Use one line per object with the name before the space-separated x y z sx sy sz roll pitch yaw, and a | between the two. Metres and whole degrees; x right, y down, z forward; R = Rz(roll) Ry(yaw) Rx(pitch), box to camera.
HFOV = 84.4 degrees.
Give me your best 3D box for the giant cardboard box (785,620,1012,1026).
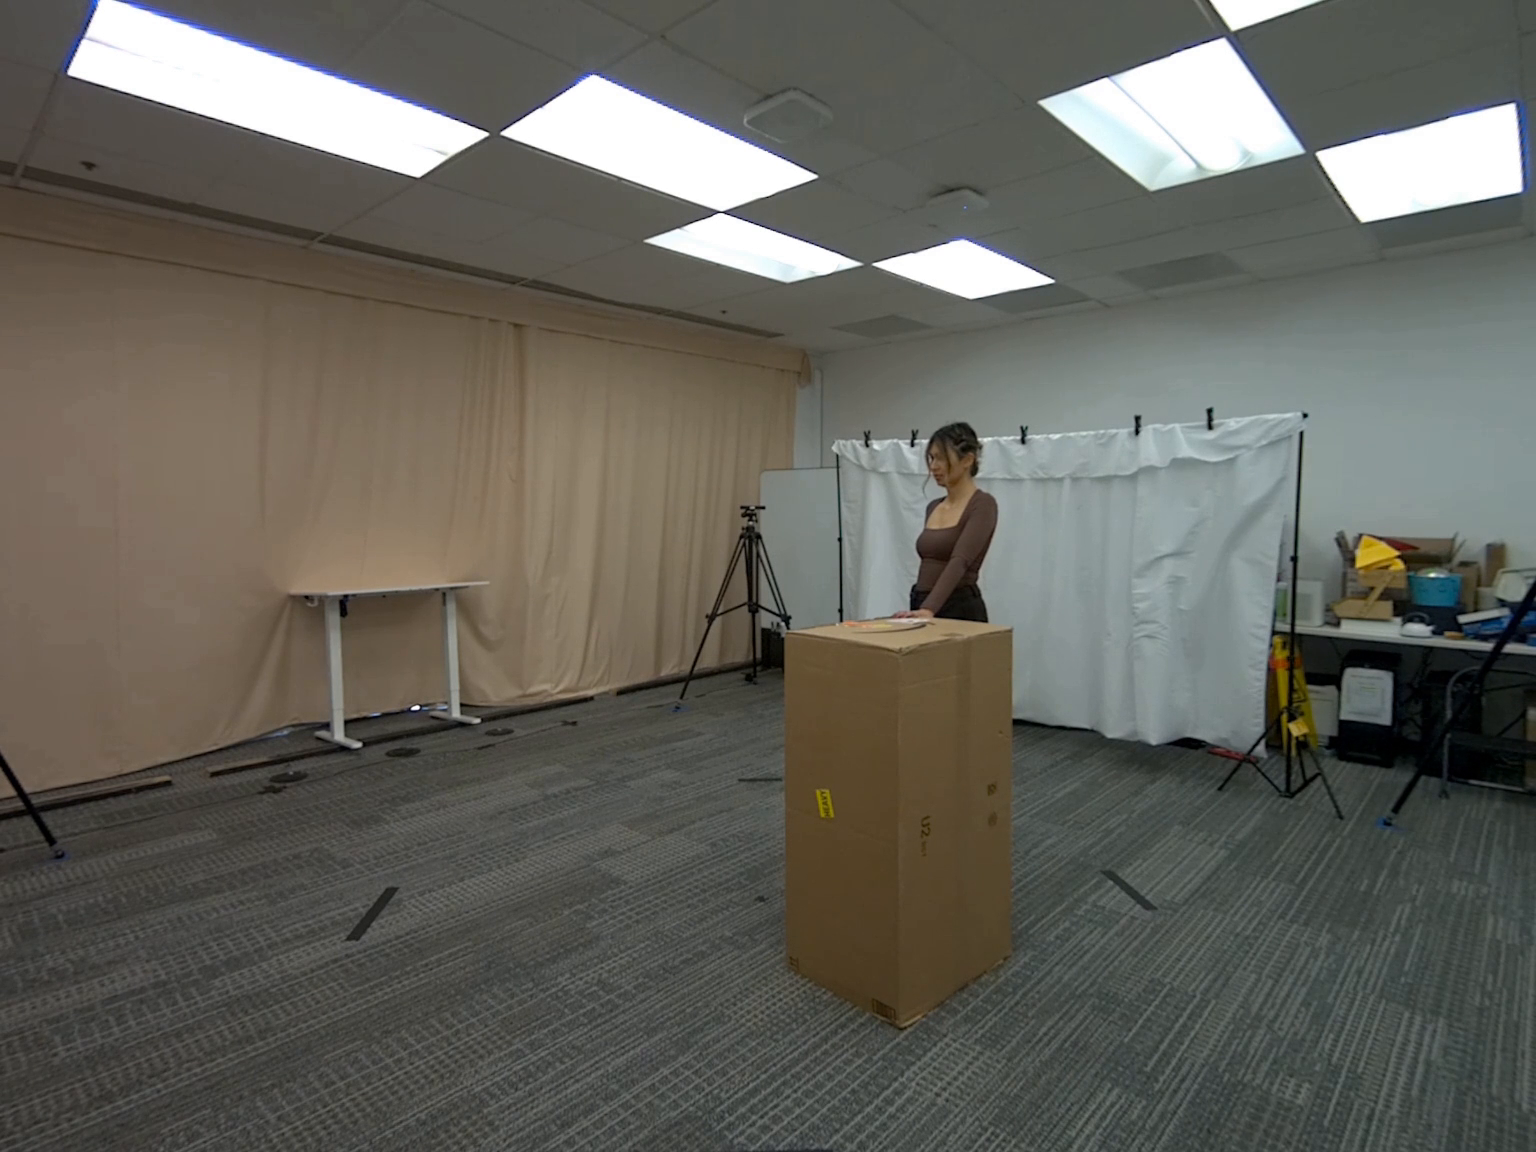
giant cardboard box | 0.403 0.669 2.553 0.566 1.025 0.461 -3 3 -41
